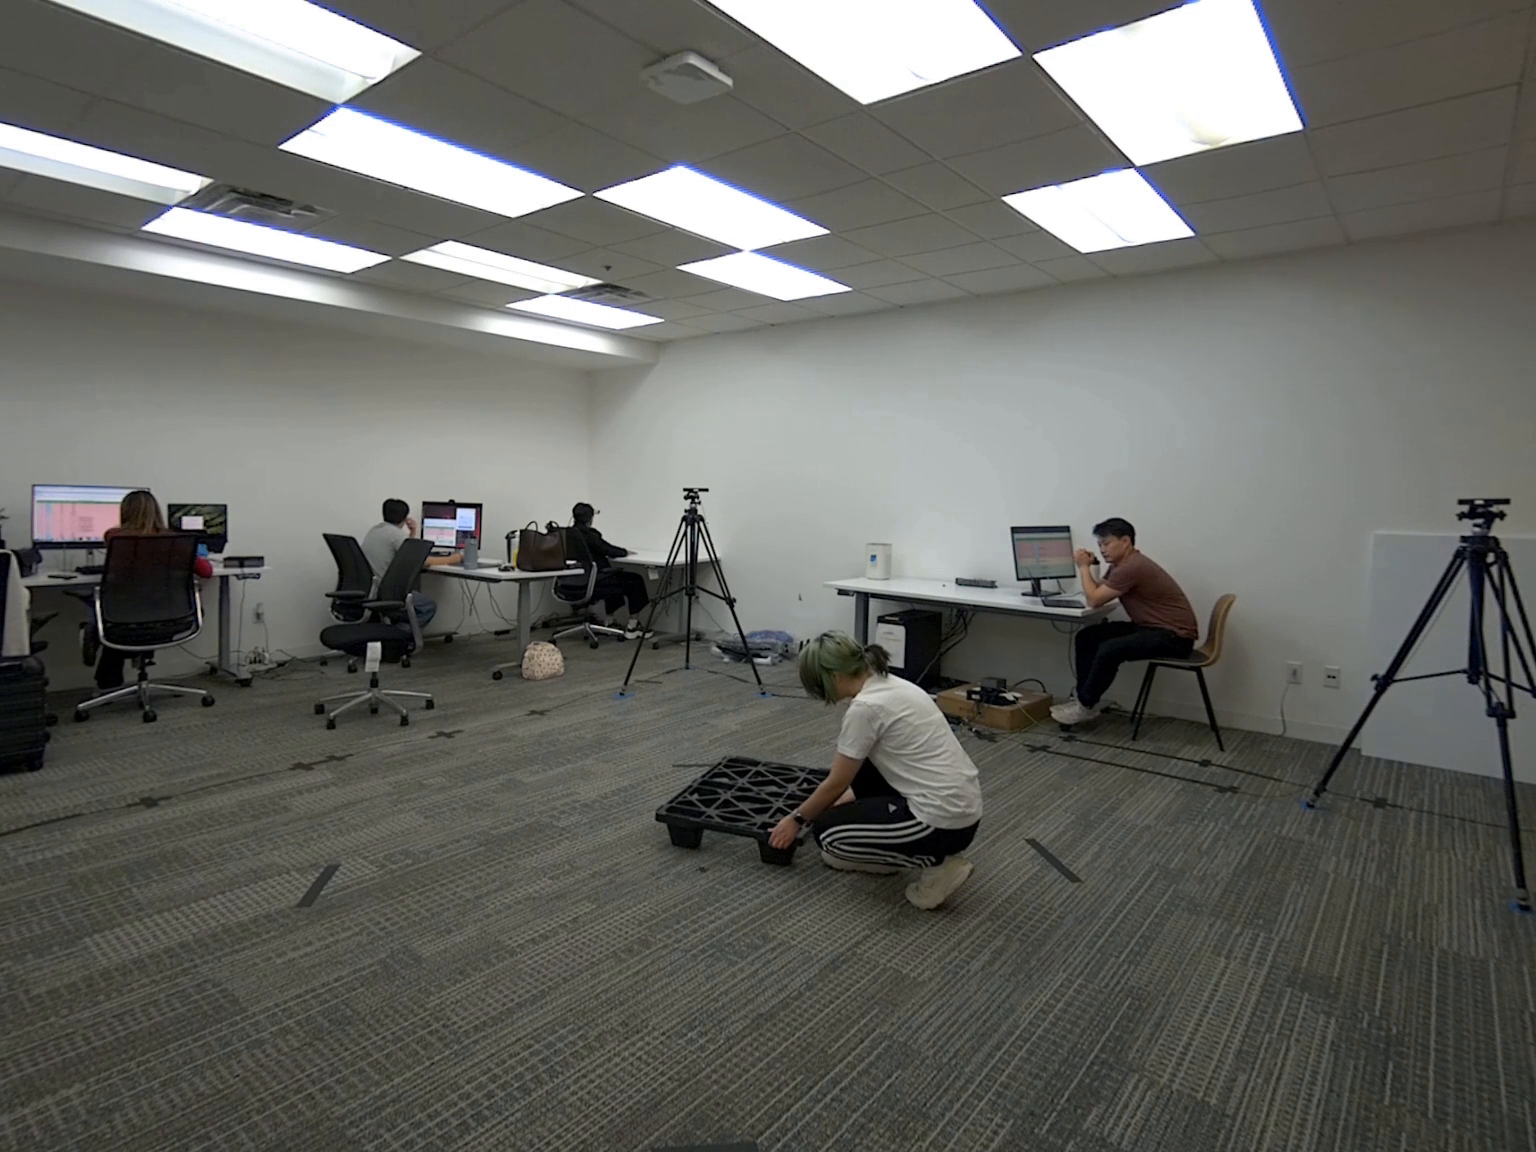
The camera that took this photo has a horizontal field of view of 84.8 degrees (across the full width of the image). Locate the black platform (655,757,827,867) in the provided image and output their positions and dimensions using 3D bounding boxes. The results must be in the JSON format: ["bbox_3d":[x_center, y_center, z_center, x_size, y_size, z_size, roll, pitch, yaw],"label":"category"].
[{"bbox_3d":[-0.053,0.961,3.562,0.618,0.143,0.791,2,5,19],"label":"black platform"}]
